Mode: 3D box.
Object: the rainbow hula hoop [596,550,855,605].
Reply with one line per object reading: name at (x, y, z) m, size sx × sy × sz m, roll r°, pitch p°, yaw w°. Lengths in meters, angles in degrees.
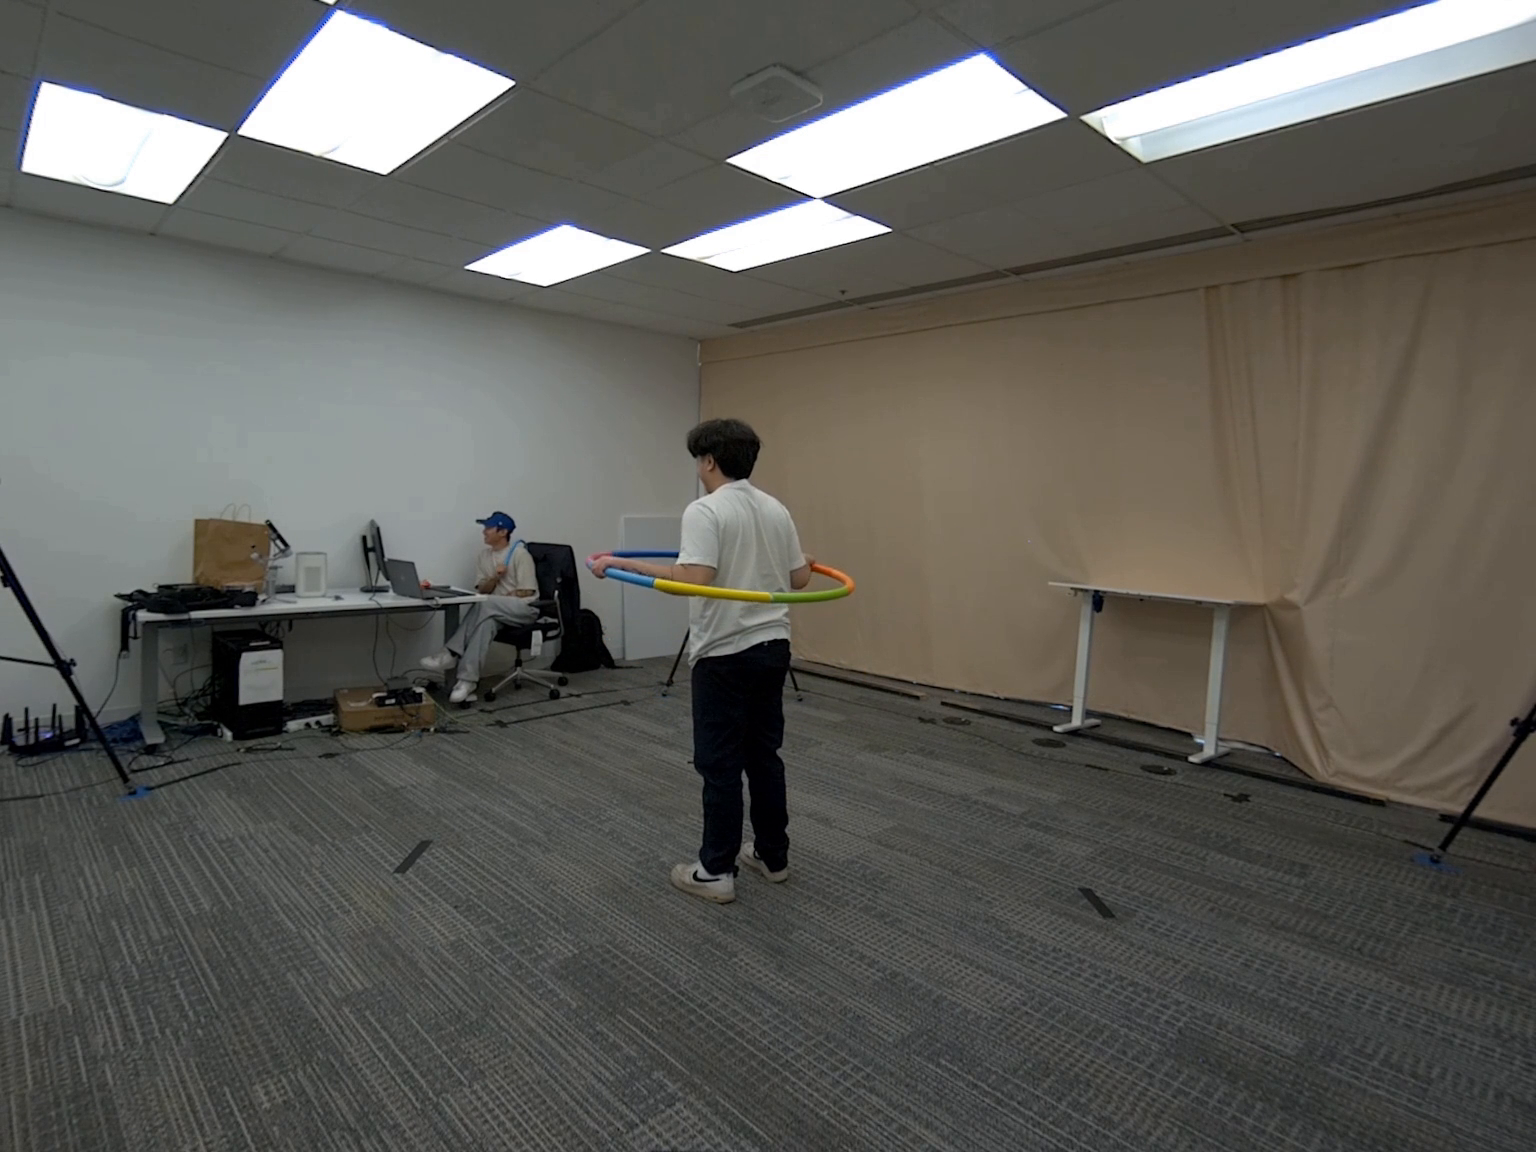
rainbow hula hoop at (-0.177, -0.021, 3.093) m, size 0.984 × 0.051 × 0.991 m, roll 4°, pitch 8°, yaw -2°
